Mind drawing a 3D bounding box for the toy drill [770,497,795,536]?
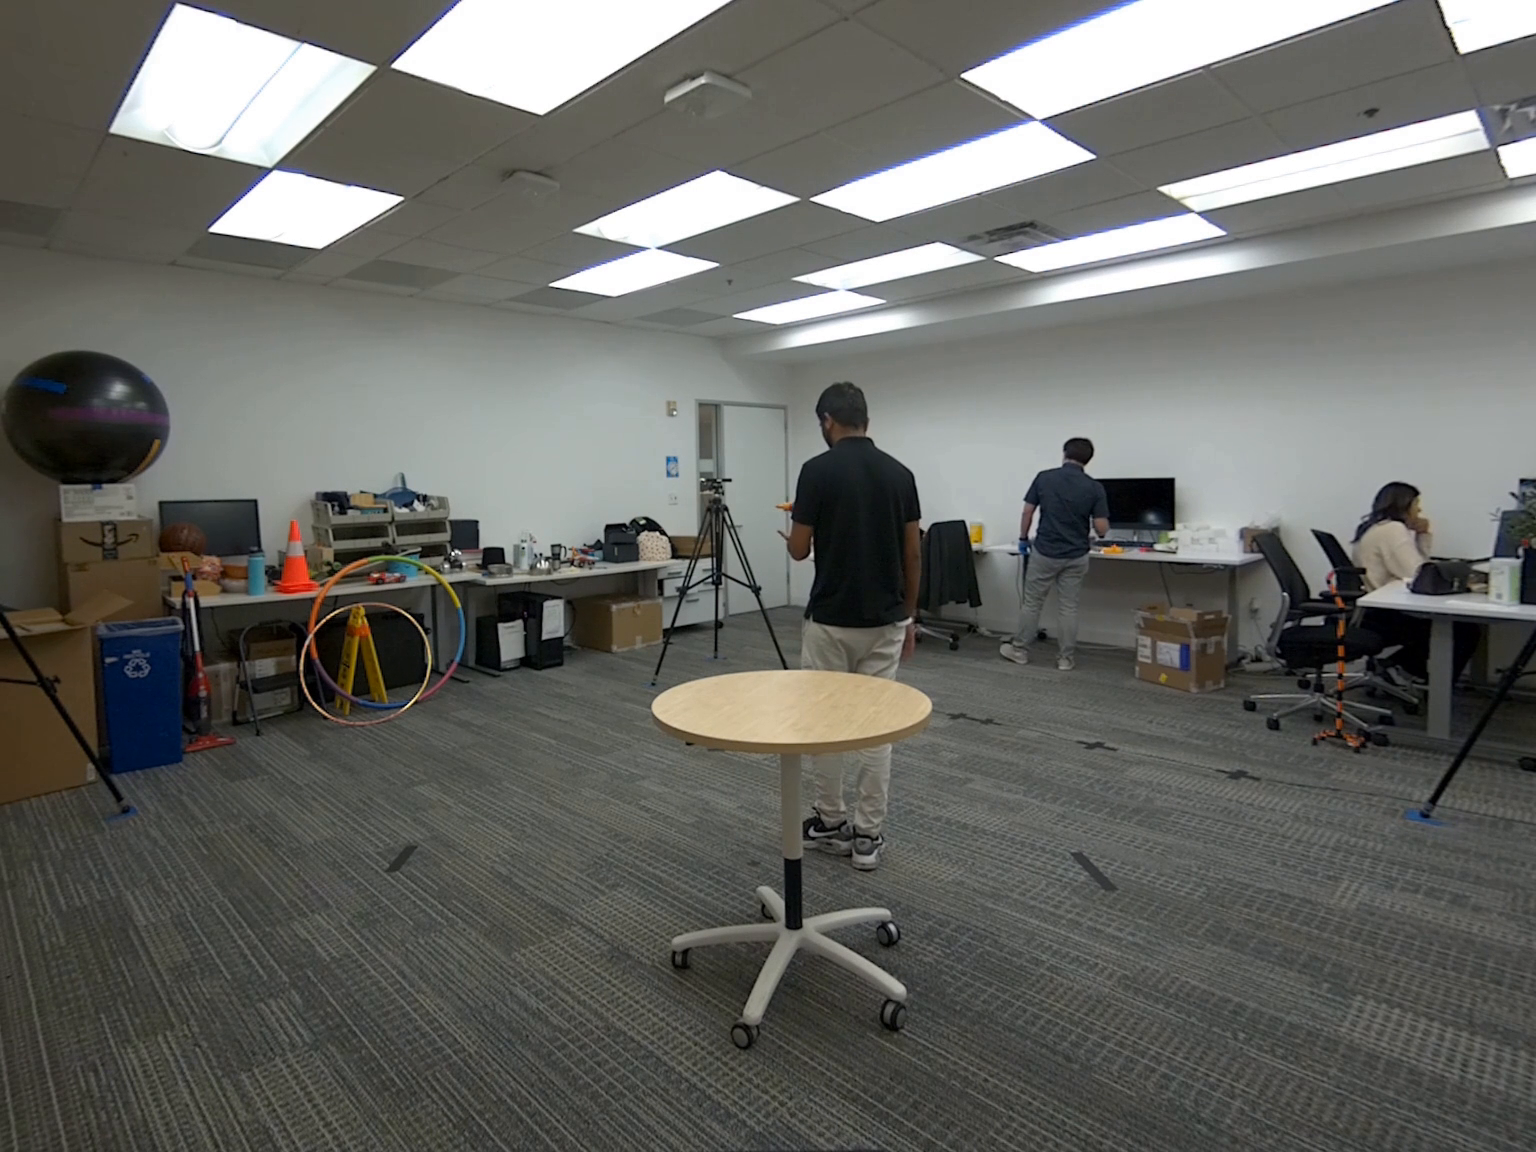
[{"bbox_3d":[0.104,-0.232,3.380,0.168,0.146,0.062,4,0,-12],"label":"toy drill"}]
